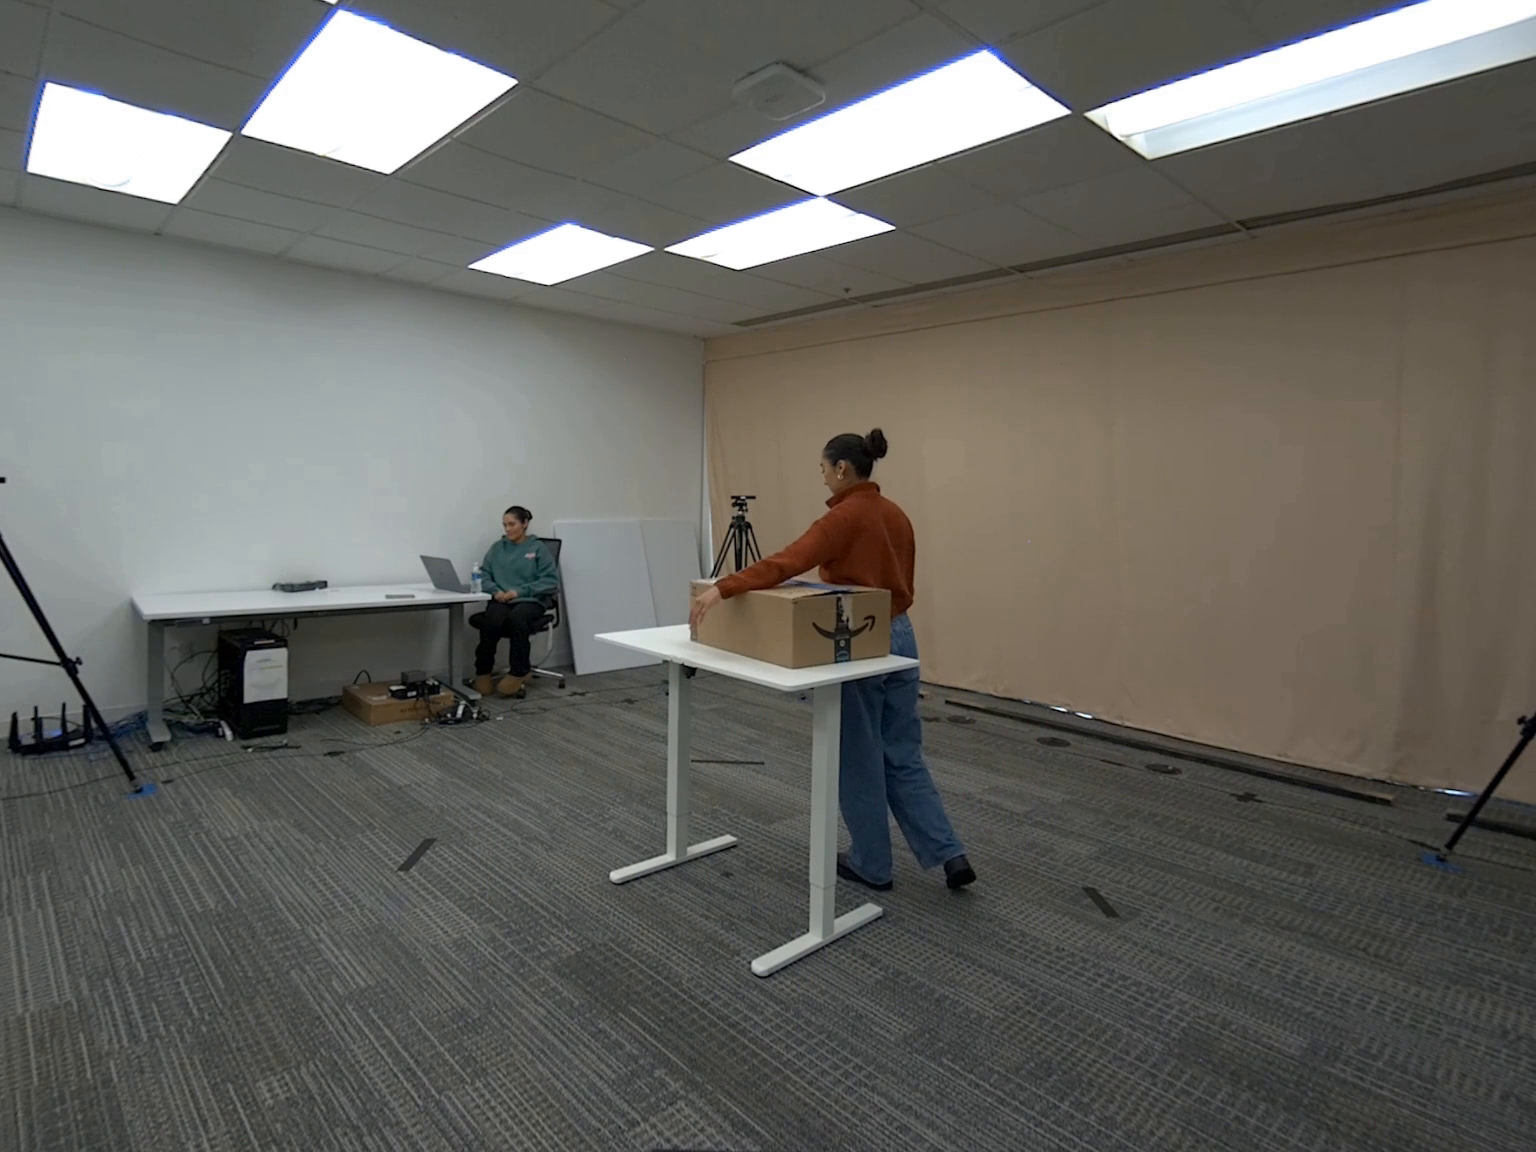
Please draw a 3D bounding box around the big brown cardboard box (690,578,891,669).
[{"bbox_3d":[0.053,0.137,2.859,0.408,0.232,0.604,-4,8,-37],"label":"big brown cardboard box"}]
